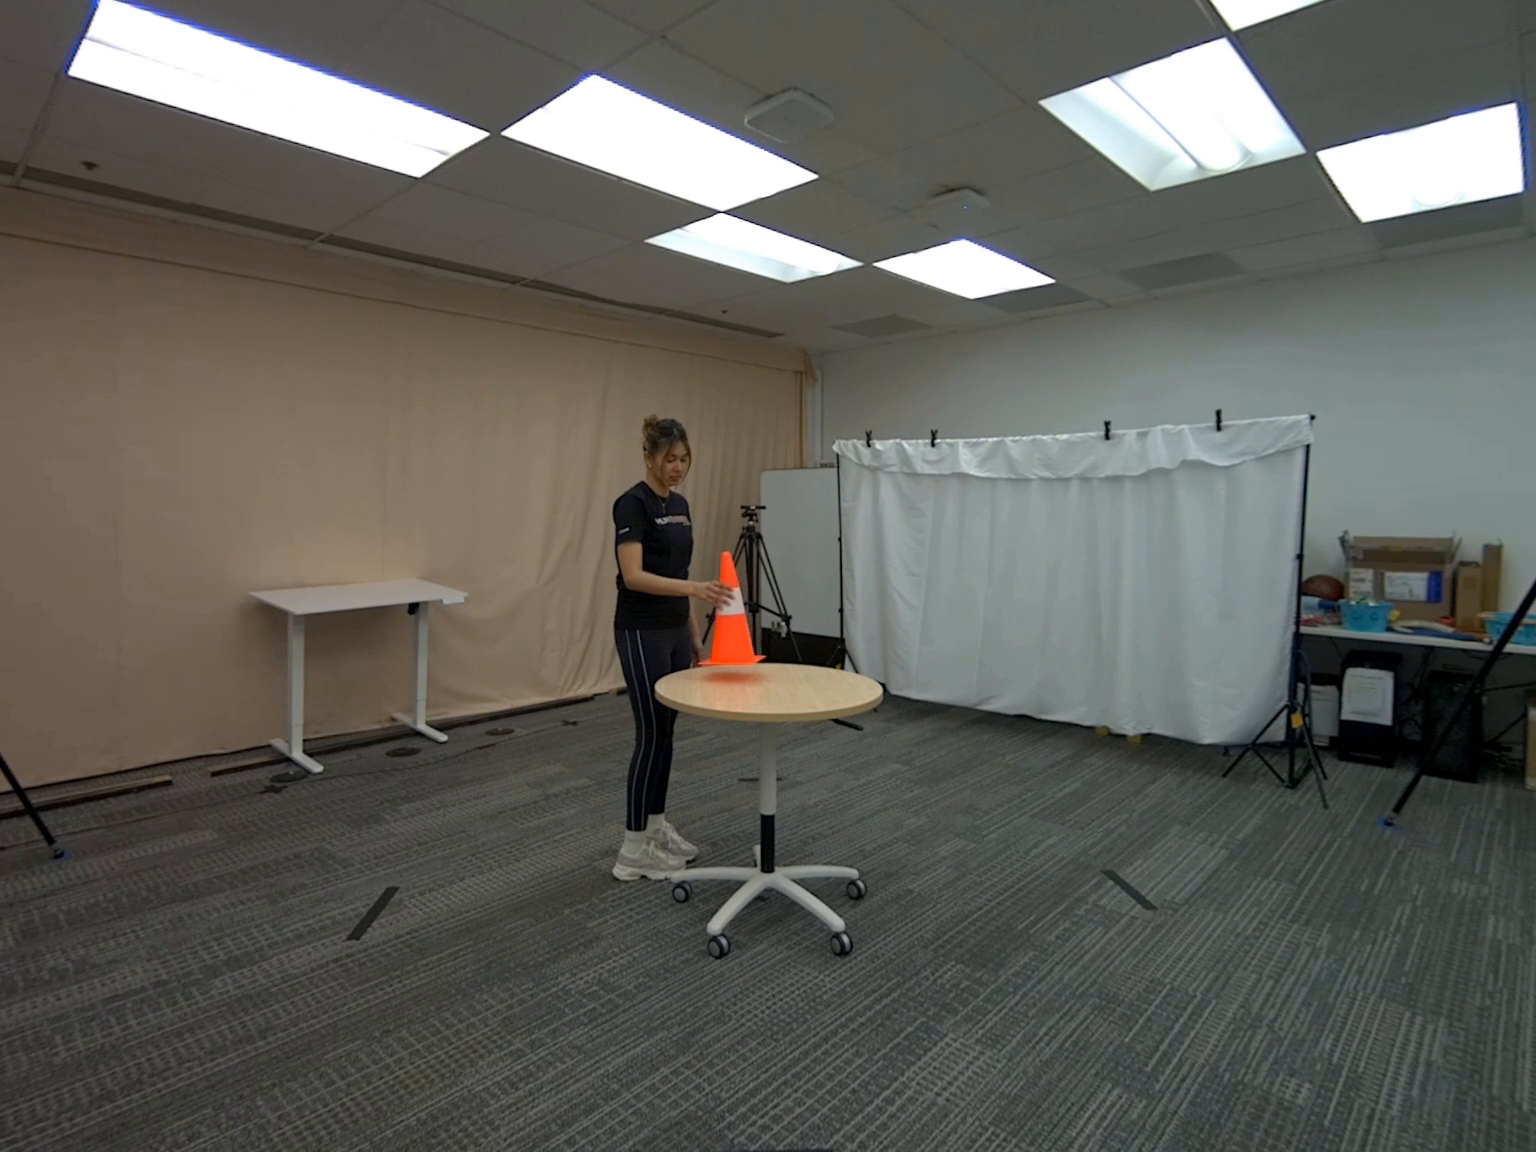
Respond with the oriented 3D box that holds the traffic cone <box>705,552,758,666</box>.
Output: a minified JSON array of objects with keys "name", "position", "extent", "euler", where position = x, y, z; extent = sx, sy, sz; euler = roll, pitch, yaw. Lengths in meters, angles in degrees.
[{"name":"traffic cone","position":[-0.137,0.105,2.959],"extent":[0.208,0.383,0.201],"euler":[-4,2,12]}]
